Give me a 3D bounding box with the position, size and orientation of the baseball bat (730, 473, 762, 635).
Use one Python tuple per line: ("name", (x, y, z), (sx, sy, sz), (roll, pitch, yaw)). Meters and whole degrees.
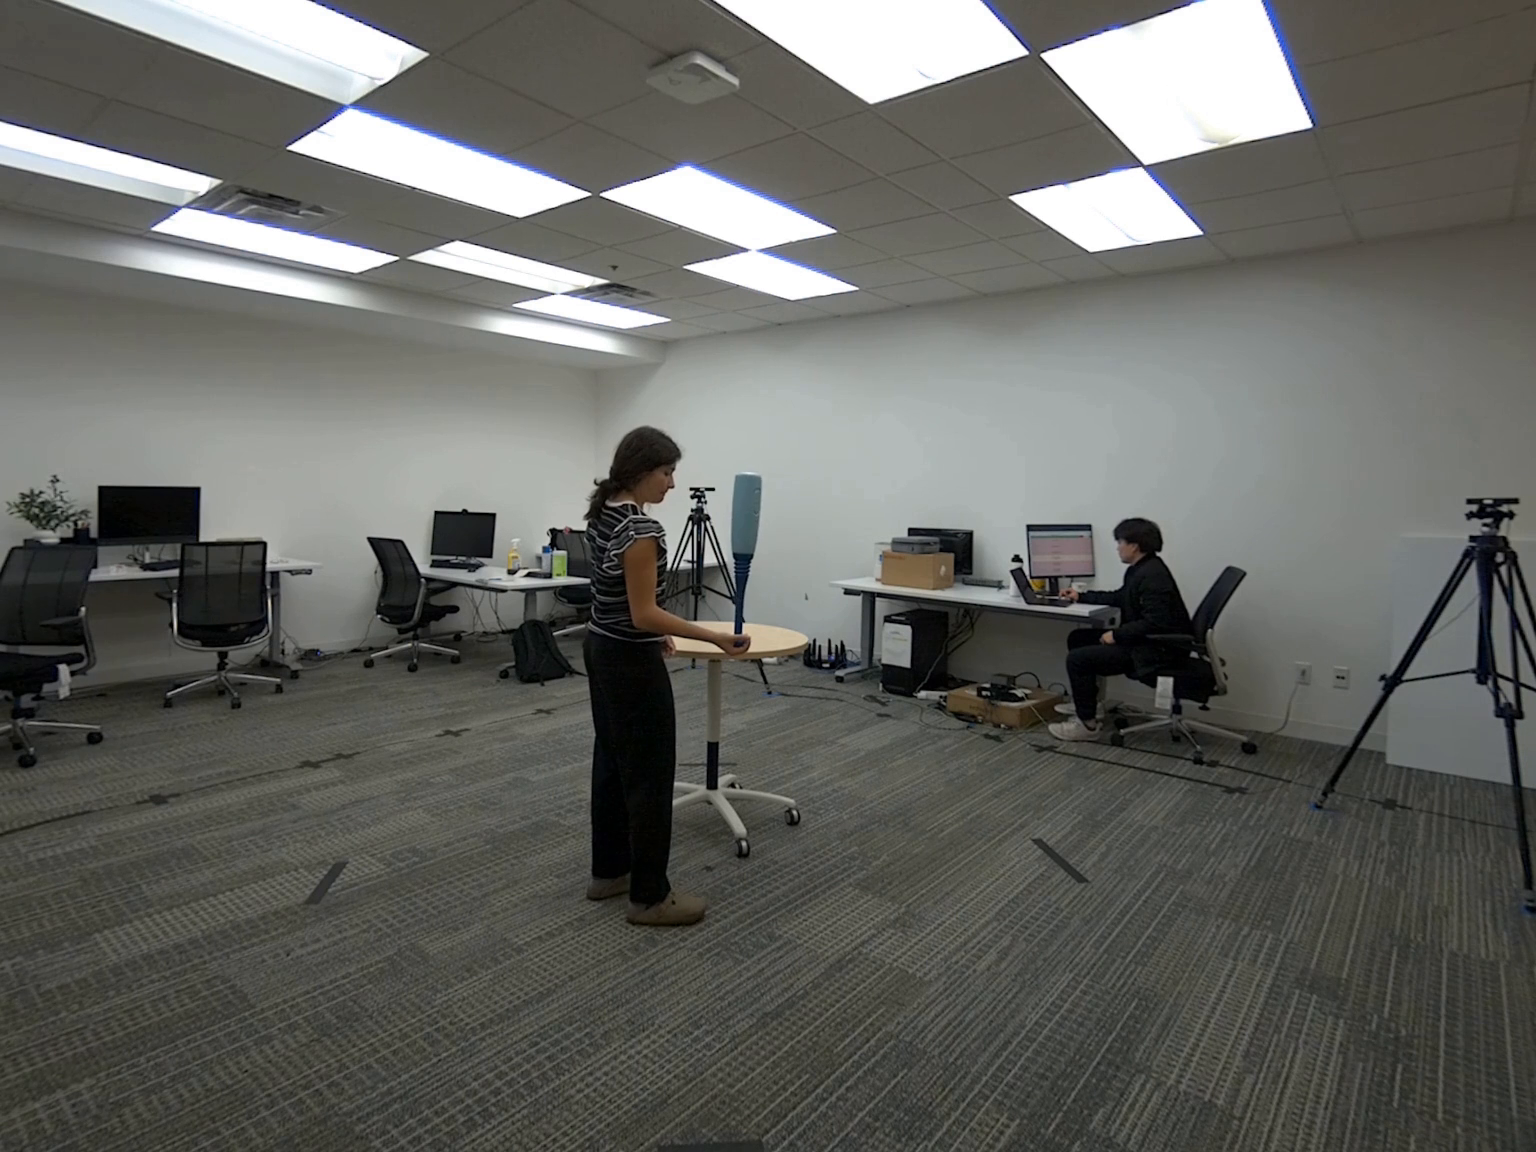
("baseball bat", (-0.088, -0.053, 2.645), (0.089, 0.542, 0.089), (3, 2, -2))
